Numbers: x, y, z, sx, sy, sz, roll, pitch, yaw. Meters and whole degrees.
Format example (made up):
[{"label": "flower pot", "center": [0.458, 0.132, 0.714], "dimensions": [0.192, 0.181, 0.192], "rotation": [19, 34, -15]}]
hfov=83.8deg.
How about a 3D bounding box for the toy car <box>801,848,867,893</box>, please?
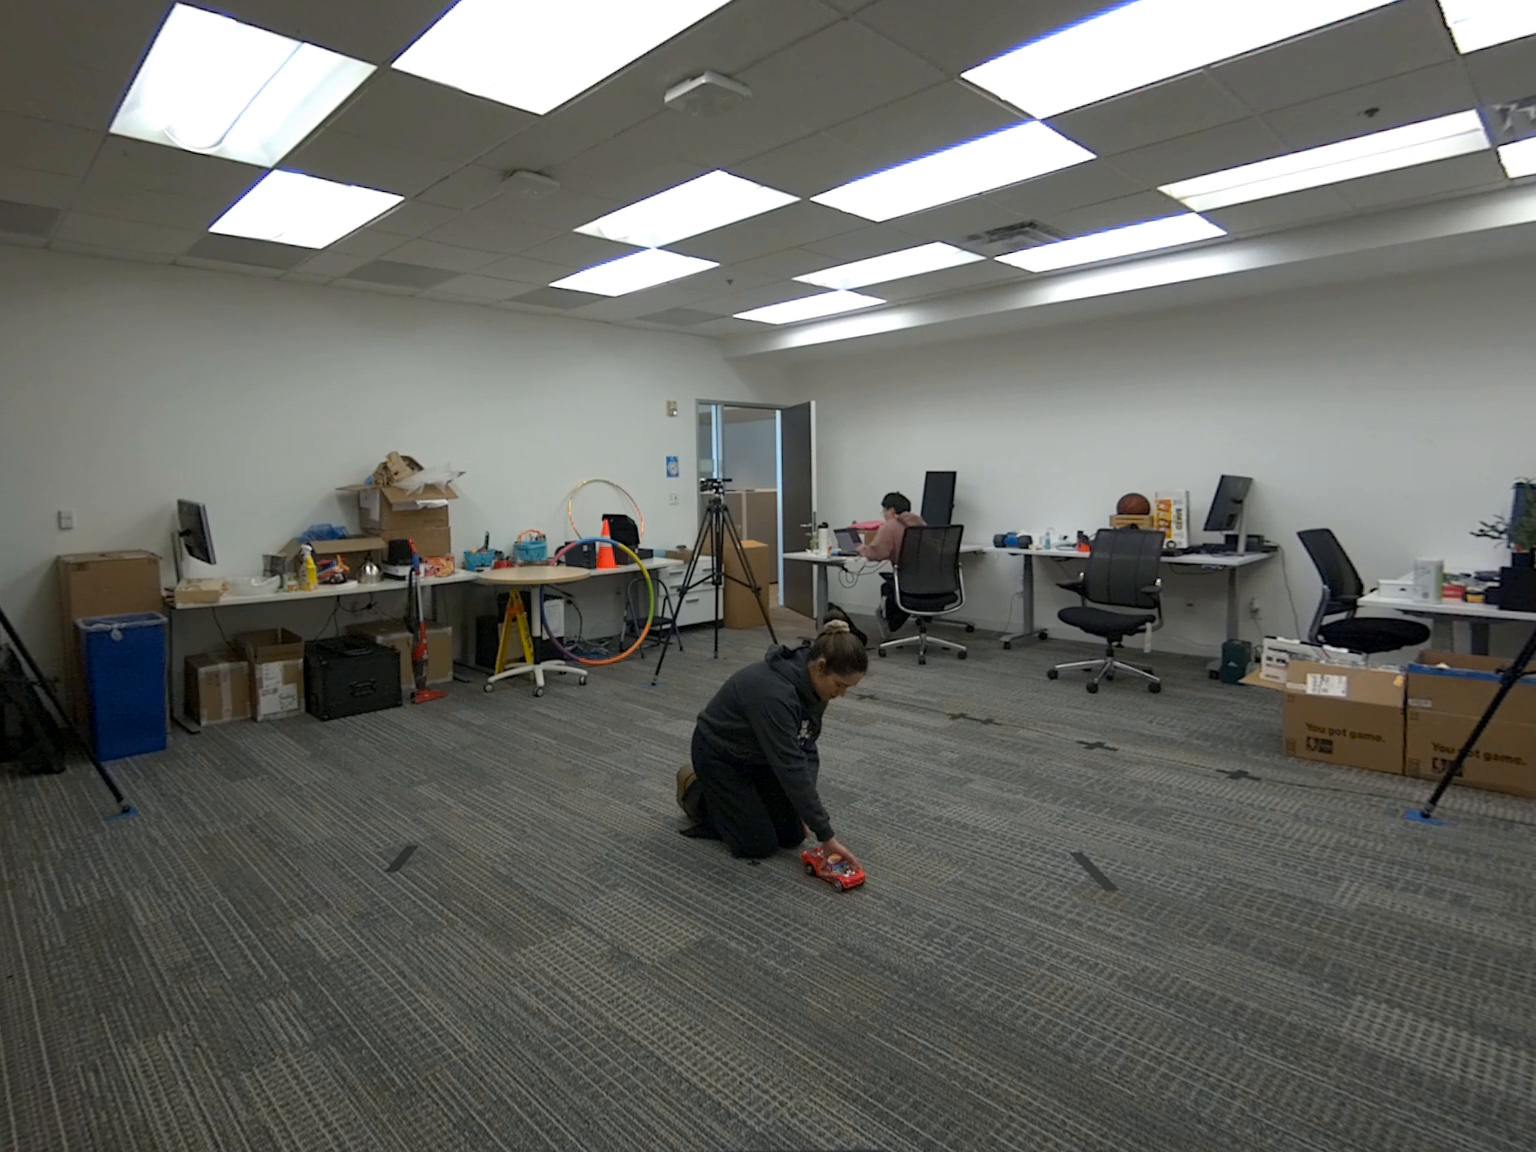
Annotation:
[{"label": "toy car", "center": [0.222, 1.023, 2.975], "dimensions": [0.127, 0.082, 0.264], "rotation": [-4, 17, -34]}]
